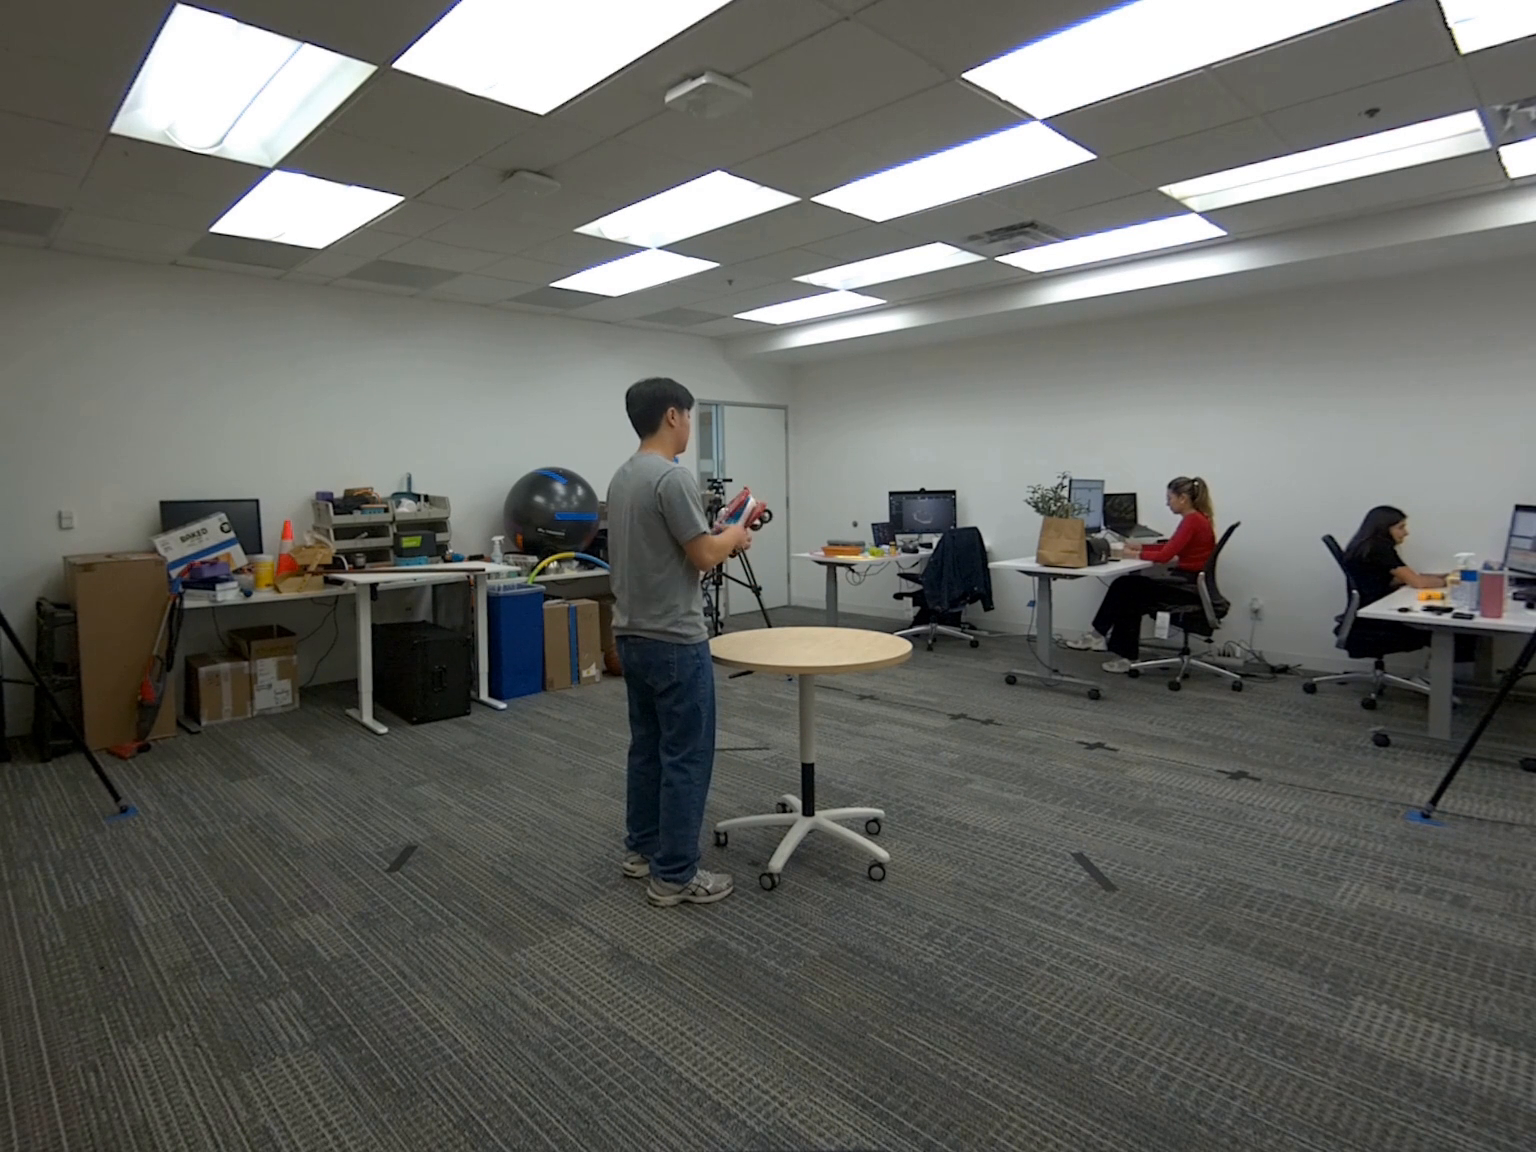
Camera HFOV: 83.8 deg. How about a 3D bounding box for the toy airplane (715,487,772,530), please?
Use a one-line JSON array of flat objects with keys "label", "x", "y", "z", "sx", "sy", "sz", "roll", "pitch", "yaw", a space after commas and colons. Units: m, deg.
[{"label": "toy airplane", "x": -0.105, "y": -0.183, "z": 3.137, "sx": 0.251, "sy": 0.156, "sz": 0.259, "roll": -43, "pitch": 3, "yaw": 33}]
